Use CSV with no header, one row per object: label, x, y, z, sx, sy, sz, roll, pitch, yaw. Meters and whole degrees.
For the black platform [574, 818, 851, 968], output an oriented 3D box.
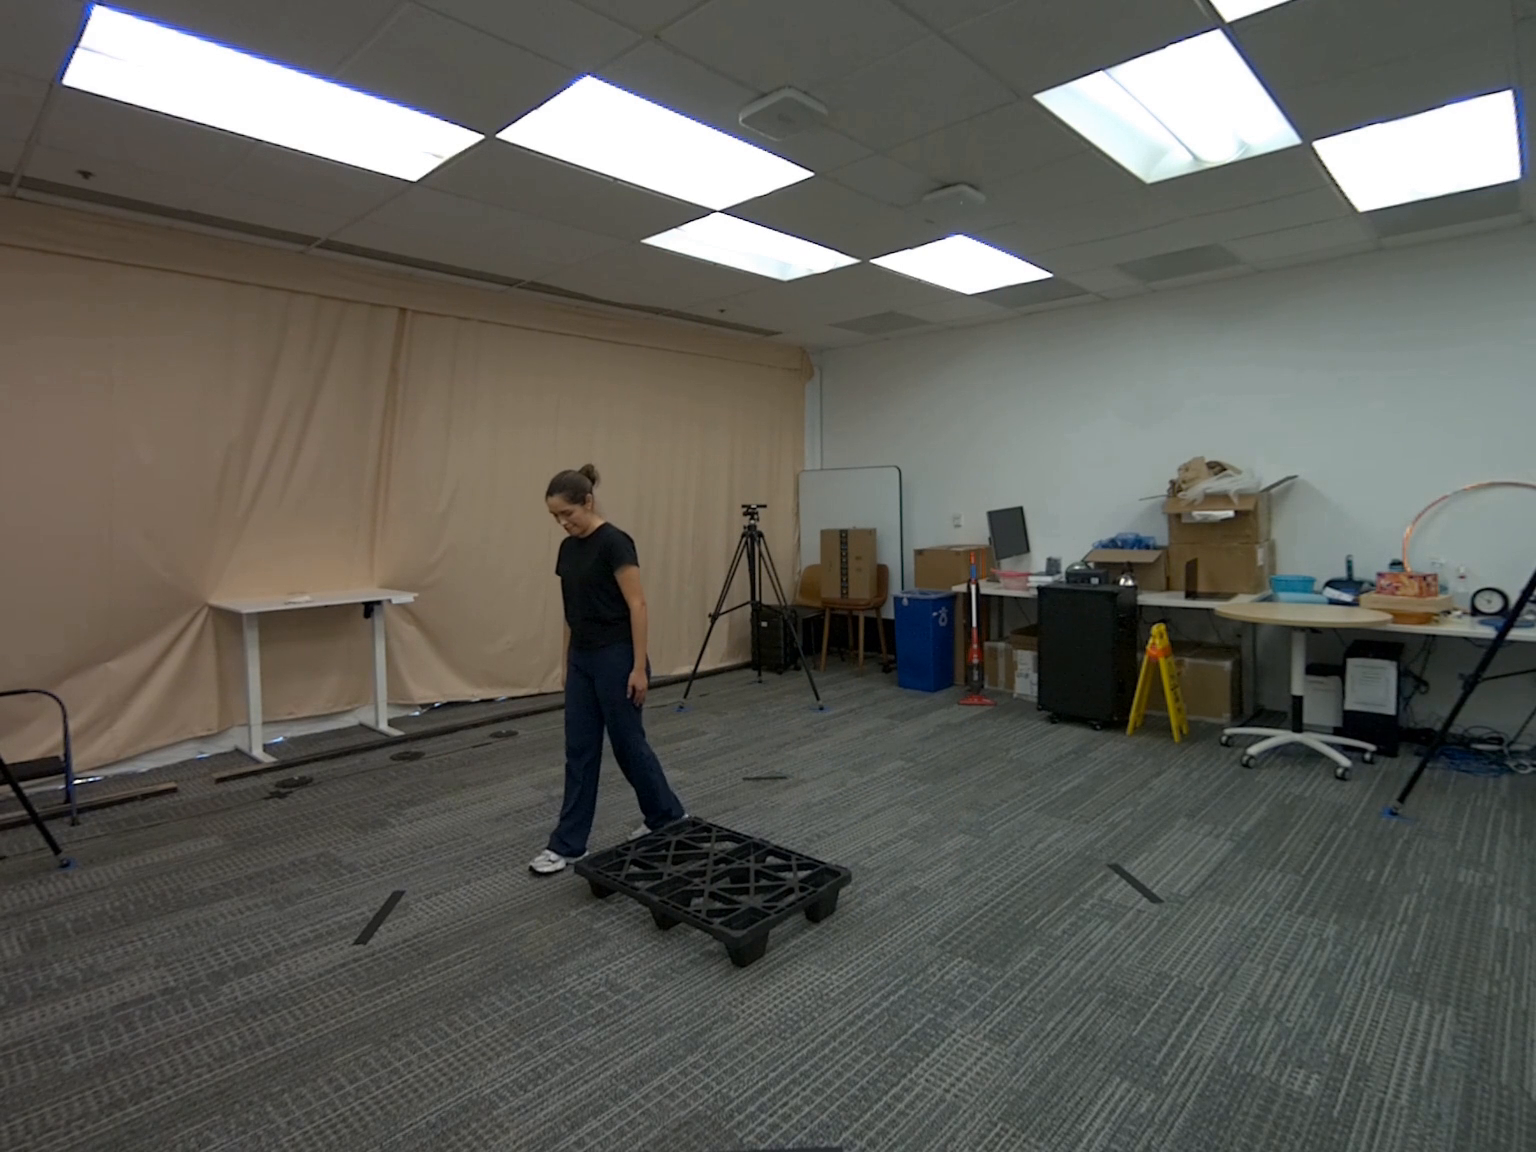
black platform,-0.186,1.085,2.933,0.832,0.143,0.587,3,7,41
